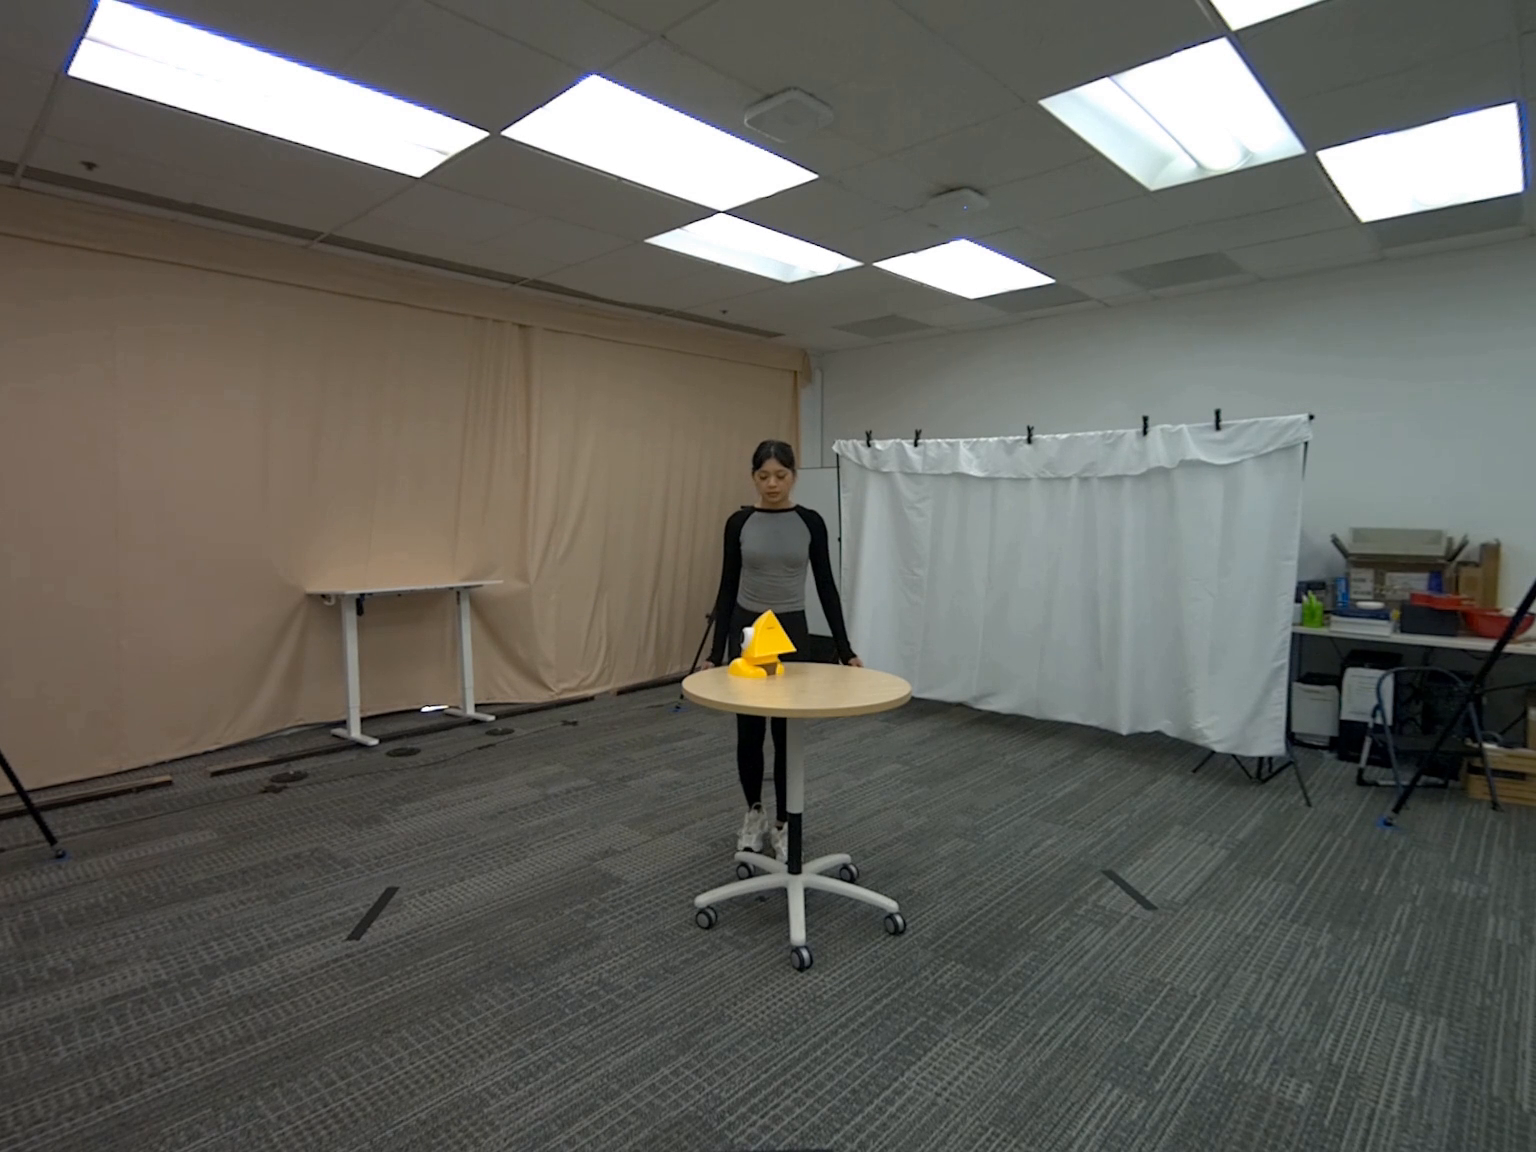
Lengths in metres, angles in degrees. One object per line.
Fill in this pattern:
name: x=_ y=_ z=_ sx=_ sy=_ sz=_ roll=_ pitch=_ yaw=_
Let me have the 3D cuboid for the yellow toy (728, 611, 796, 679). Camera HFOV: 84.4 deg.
yellow toy: x=-0.032 y=0.233 z=3.028 sx=0.198 sy=0.230 sz=0.199 roll=-3 pitch=4 yaw=-42
